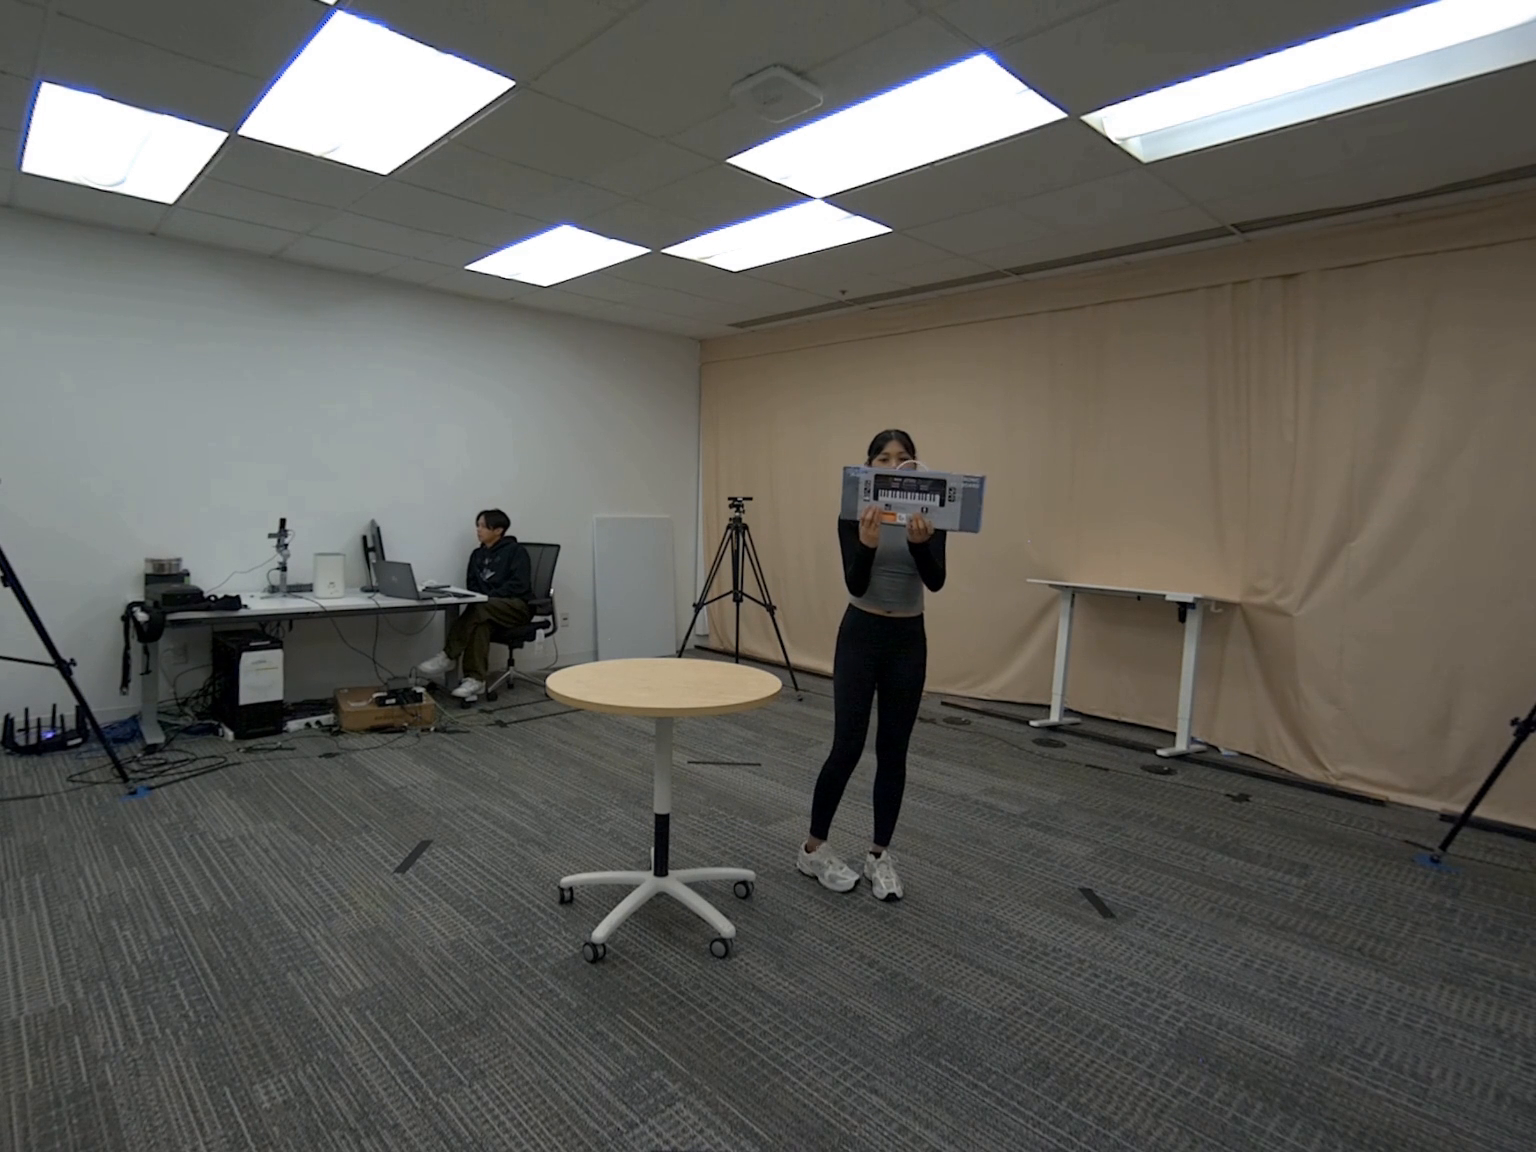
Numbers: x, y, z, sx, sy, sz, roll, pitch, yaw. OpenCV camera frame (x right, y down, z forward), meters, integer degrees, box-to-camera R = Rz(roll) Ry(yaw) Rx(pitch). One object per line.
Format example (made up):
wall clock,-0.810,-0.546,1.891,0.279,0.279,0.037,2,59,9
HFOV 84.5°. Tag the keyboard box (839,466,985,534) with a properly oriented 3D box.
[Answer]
keyboard box,0.439,-0.242,2.639,0.446,0.174,0.058,8,12,25
